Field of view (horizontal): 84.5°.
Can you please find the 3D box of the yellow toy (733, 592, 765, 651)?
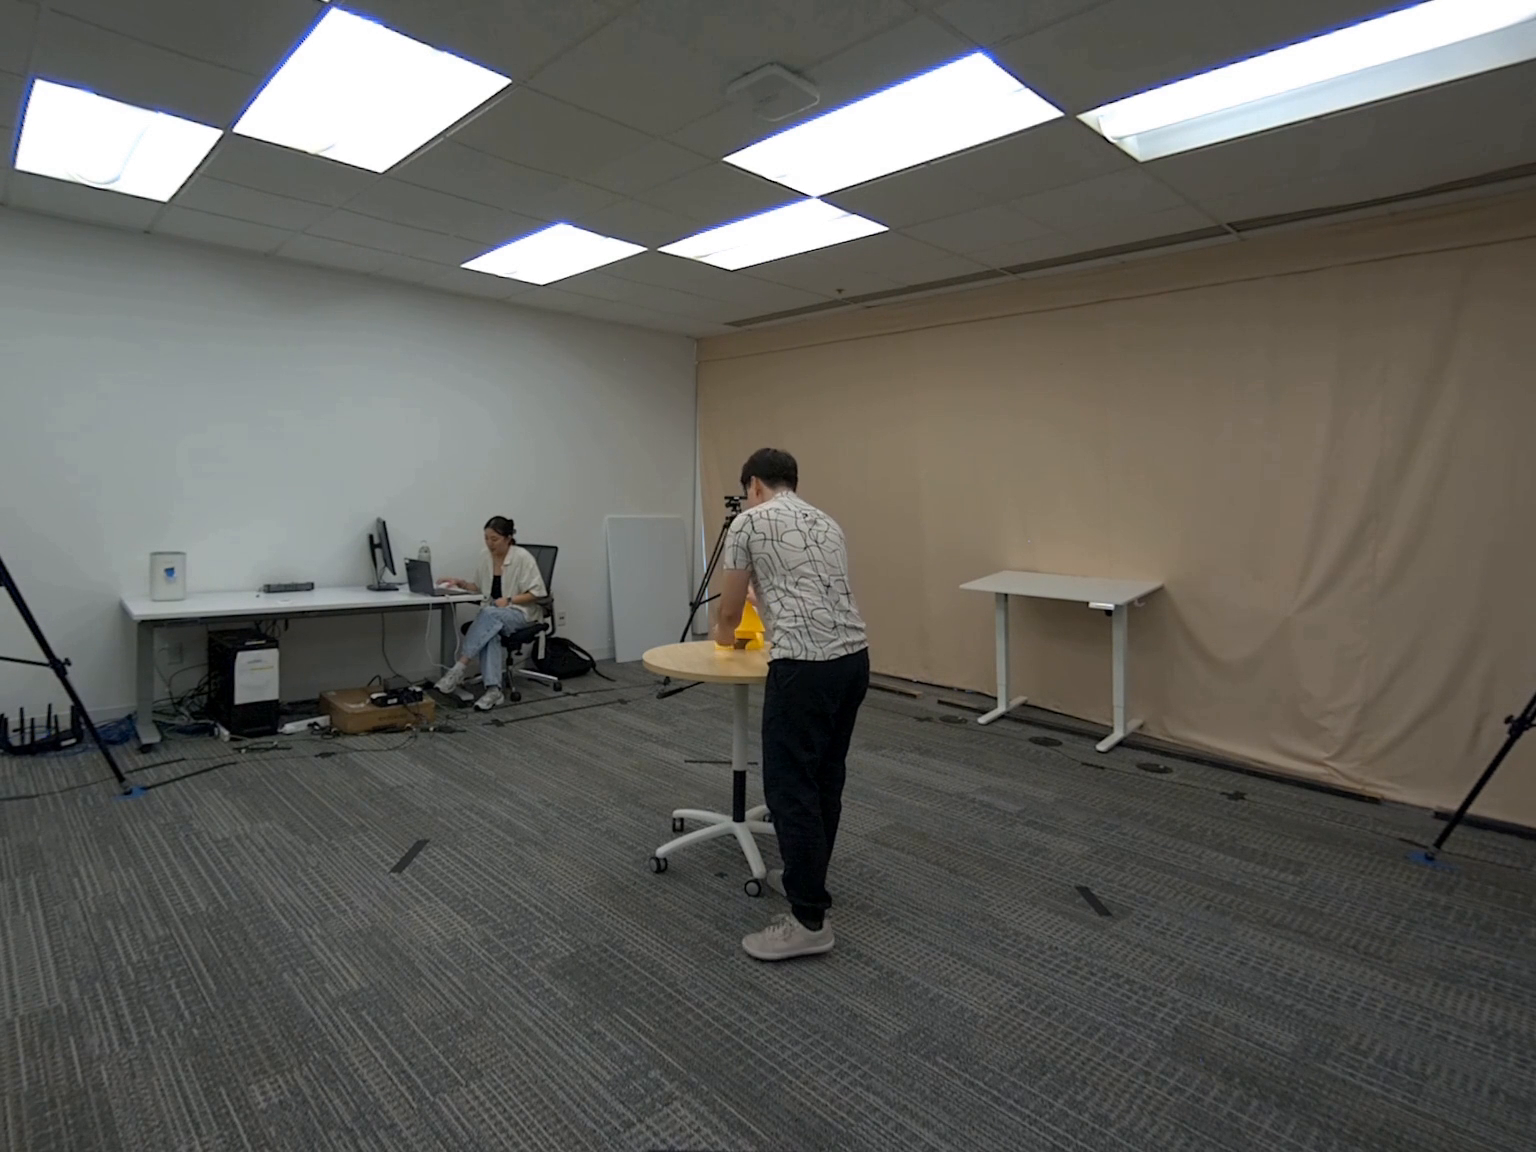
[{"bbox_3d":[-0.124,0.174,3.456,0.205,0.230,0.194,0,5,-1],"label":"yellow toy"}]
